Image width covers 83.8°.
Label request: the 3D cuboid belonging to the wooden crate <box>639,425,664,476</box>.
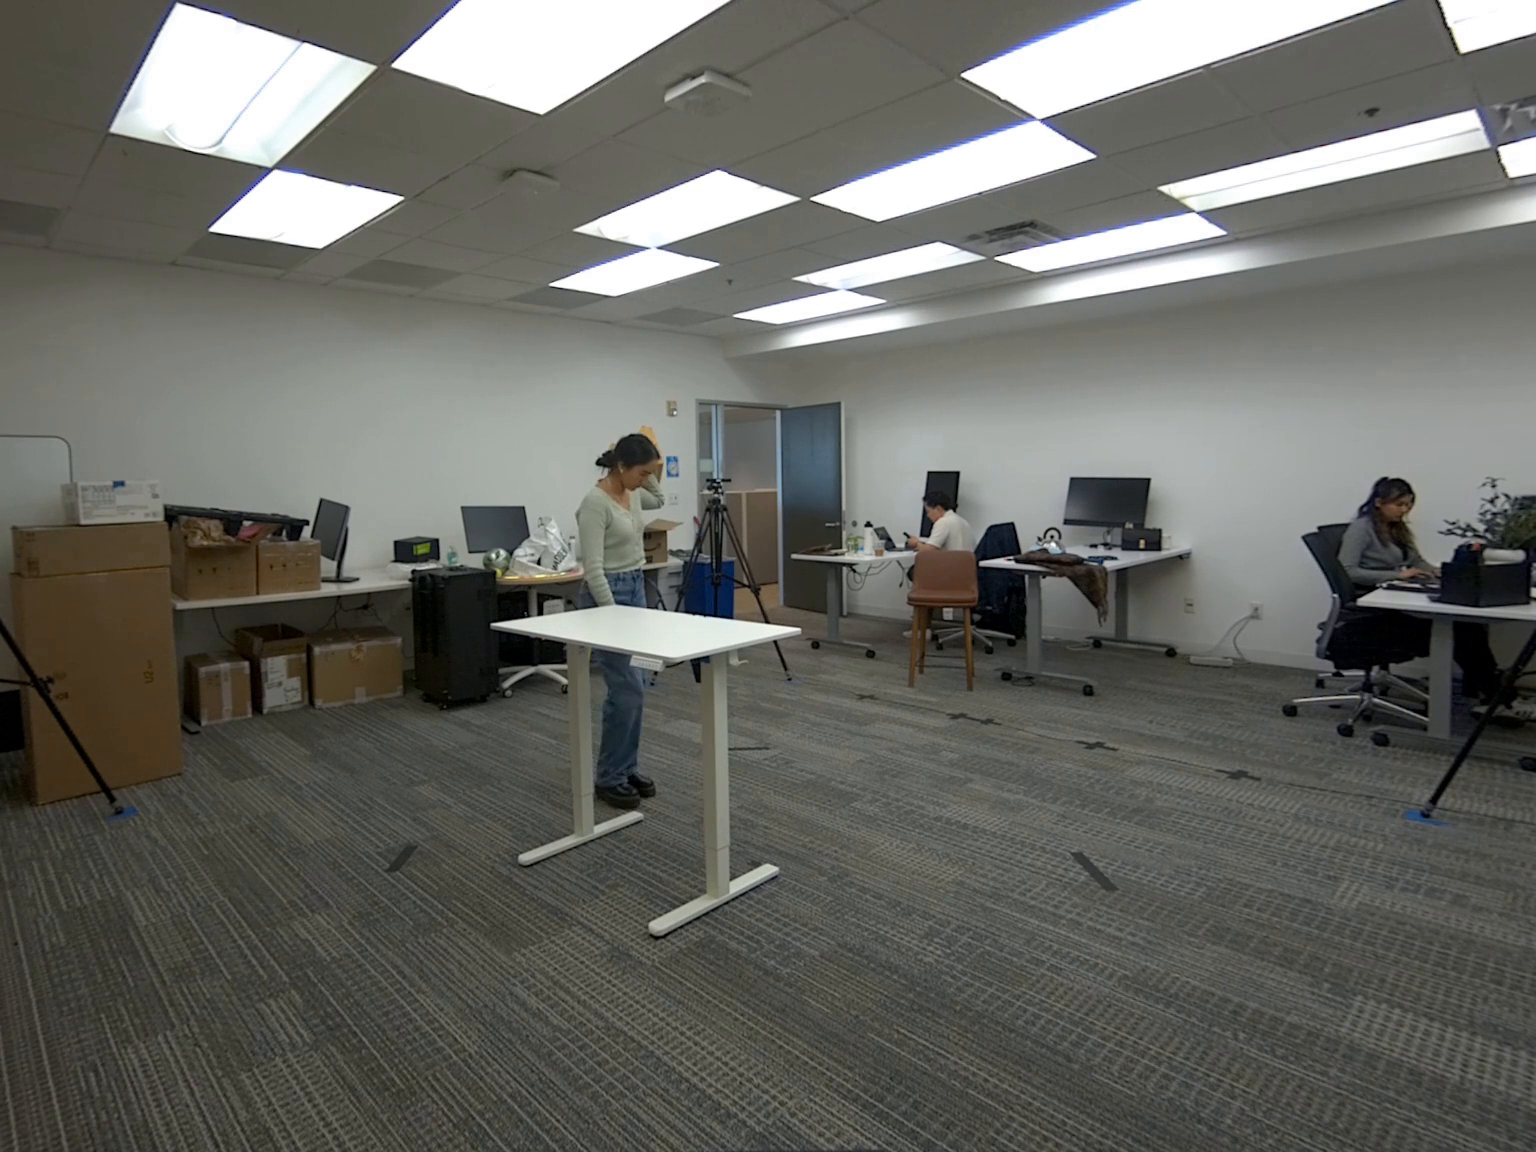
[{"bbox_3d":[-0.678,-0.510,4.146,0.269,0.311,0.319,-9,-32,-19],"label":"wooden crate"}]
